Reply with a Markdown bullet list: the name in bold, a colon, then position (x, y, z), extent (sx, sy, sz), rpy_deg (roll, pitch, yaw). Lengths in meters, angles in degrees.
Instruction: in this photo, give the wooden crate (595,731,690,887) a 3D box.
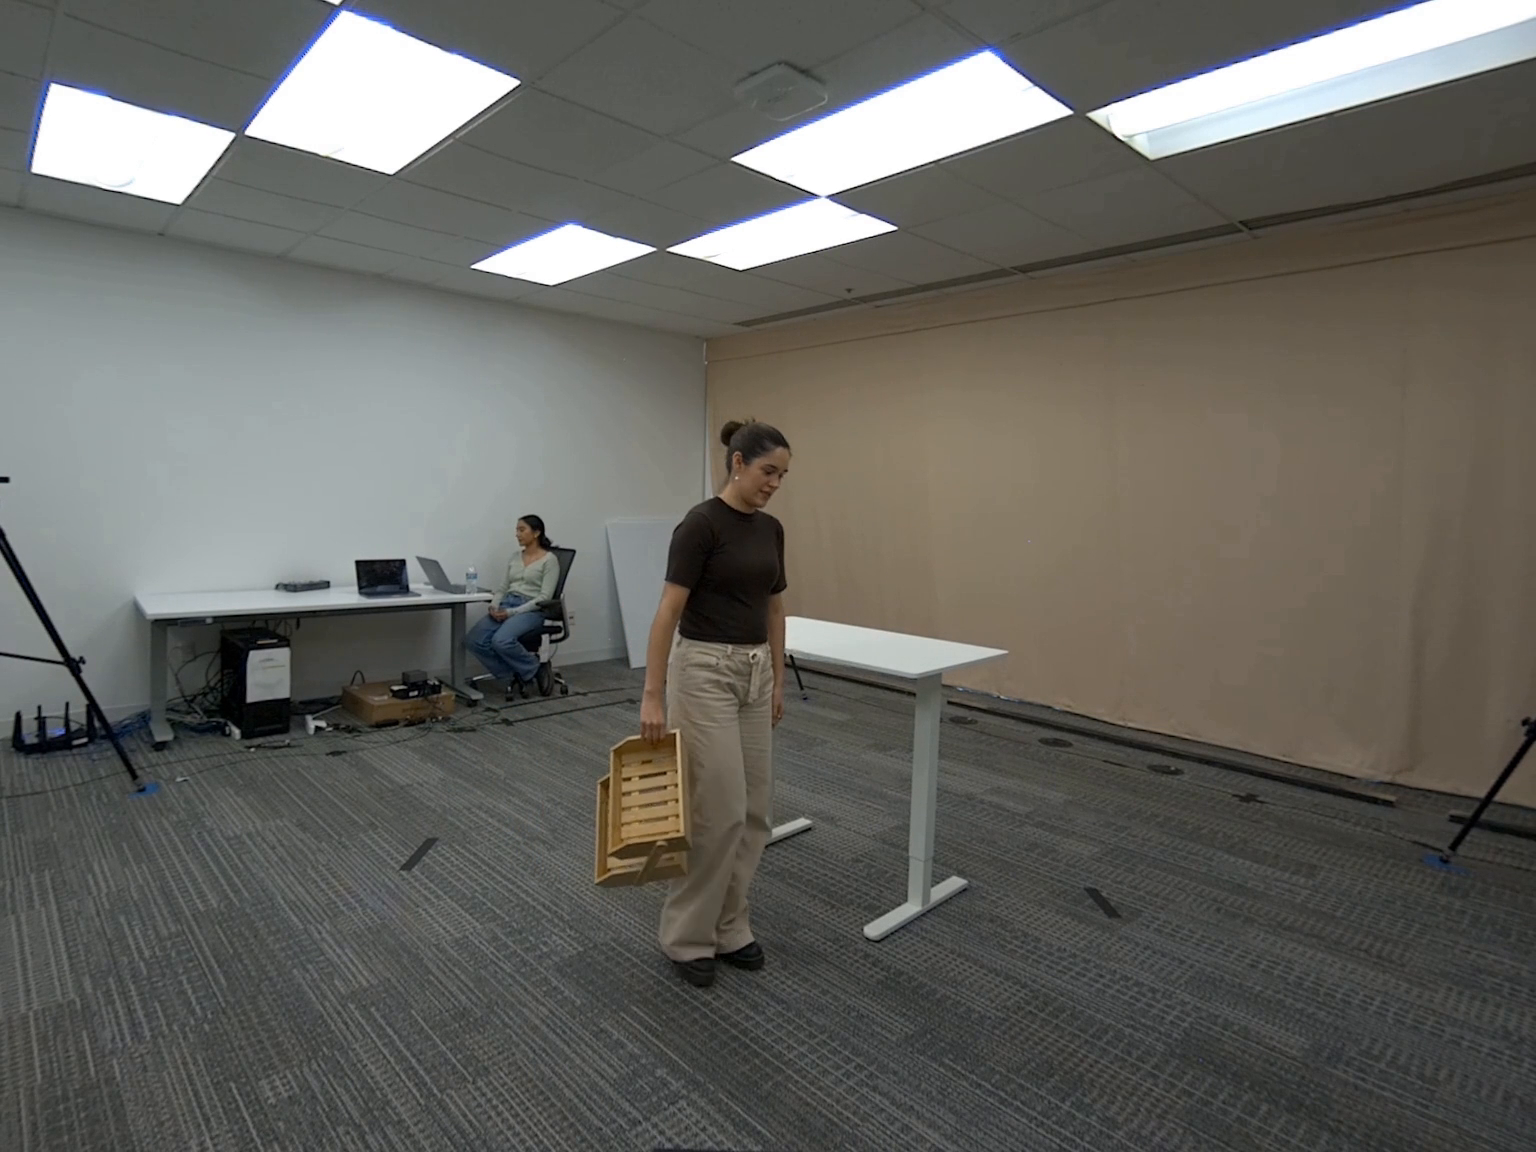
- **wooden crate**: position (-0.362, 0.643, 2.291), extent (0.303, 0.332, 0.266), rpy_deg (-10, -41, 3)
